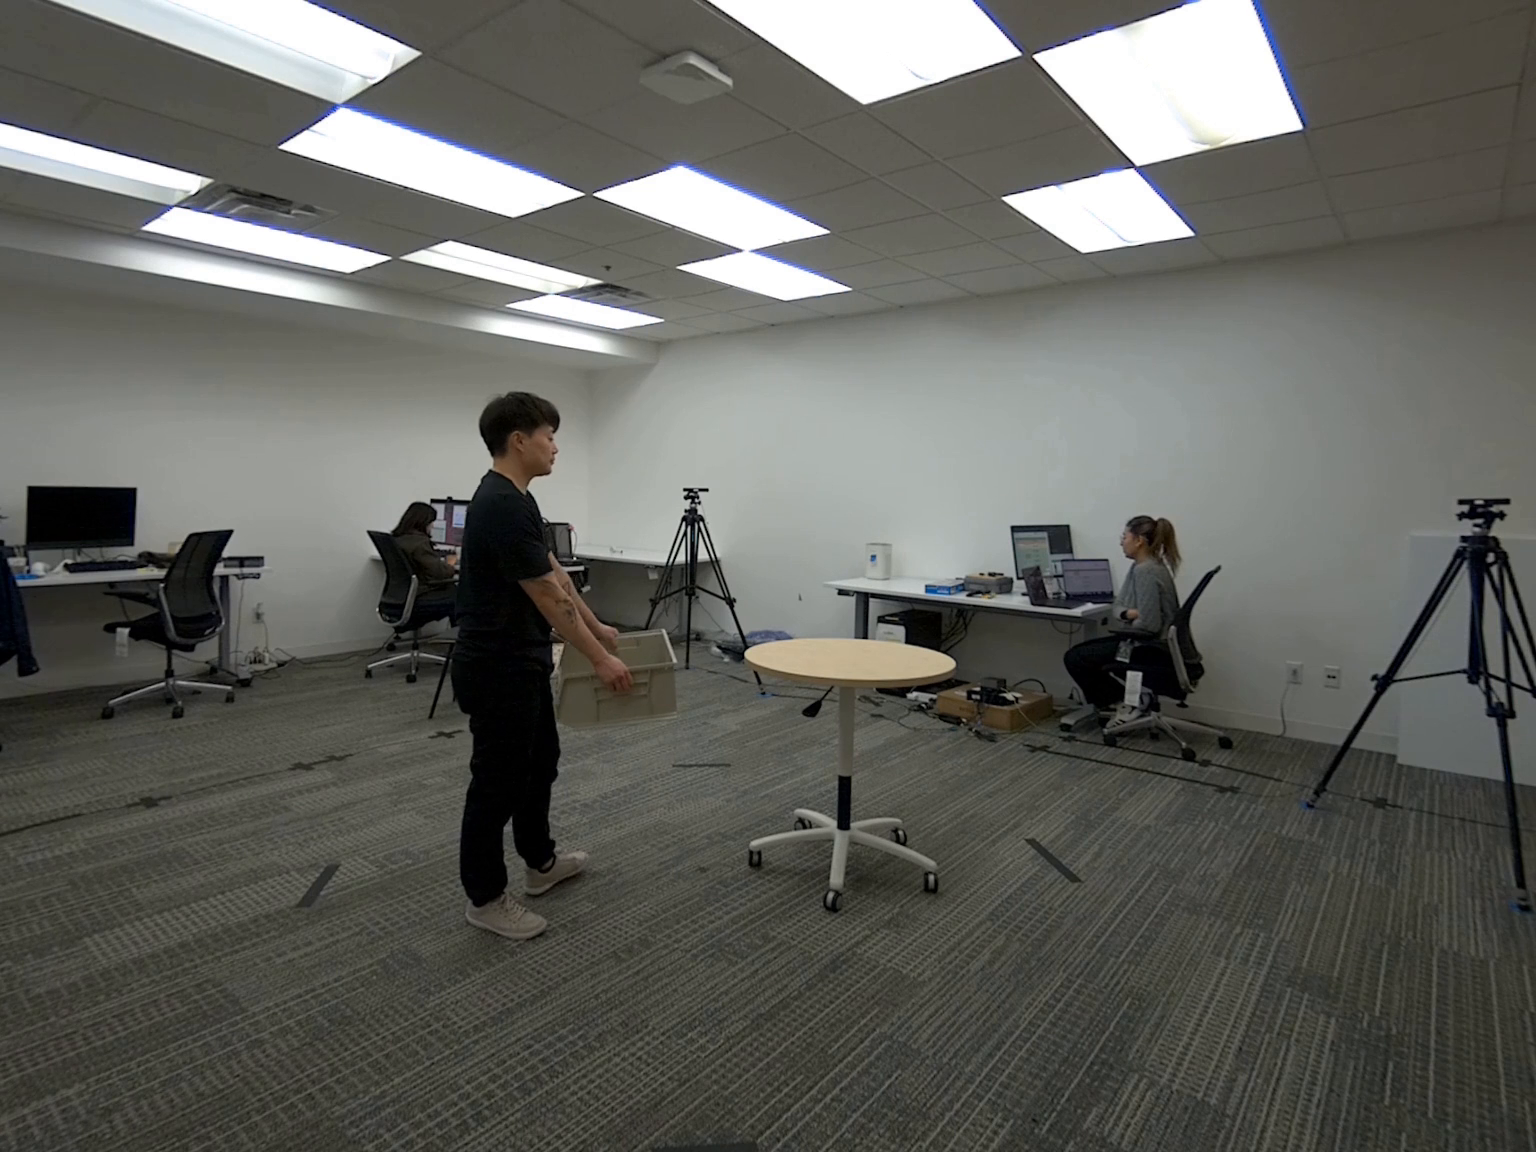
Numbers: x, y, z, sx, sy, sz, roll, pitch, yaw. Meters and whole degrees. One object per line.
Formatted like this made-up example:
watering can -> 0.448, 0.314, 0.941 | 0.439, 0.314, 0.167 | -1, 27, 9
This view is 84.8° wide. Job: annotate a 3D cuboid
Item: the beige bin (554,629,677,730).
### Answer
beige bin -> -0.511, 0.327, 2.745 | 0.373, 0.187, 0.430 | -4, 9, -12
